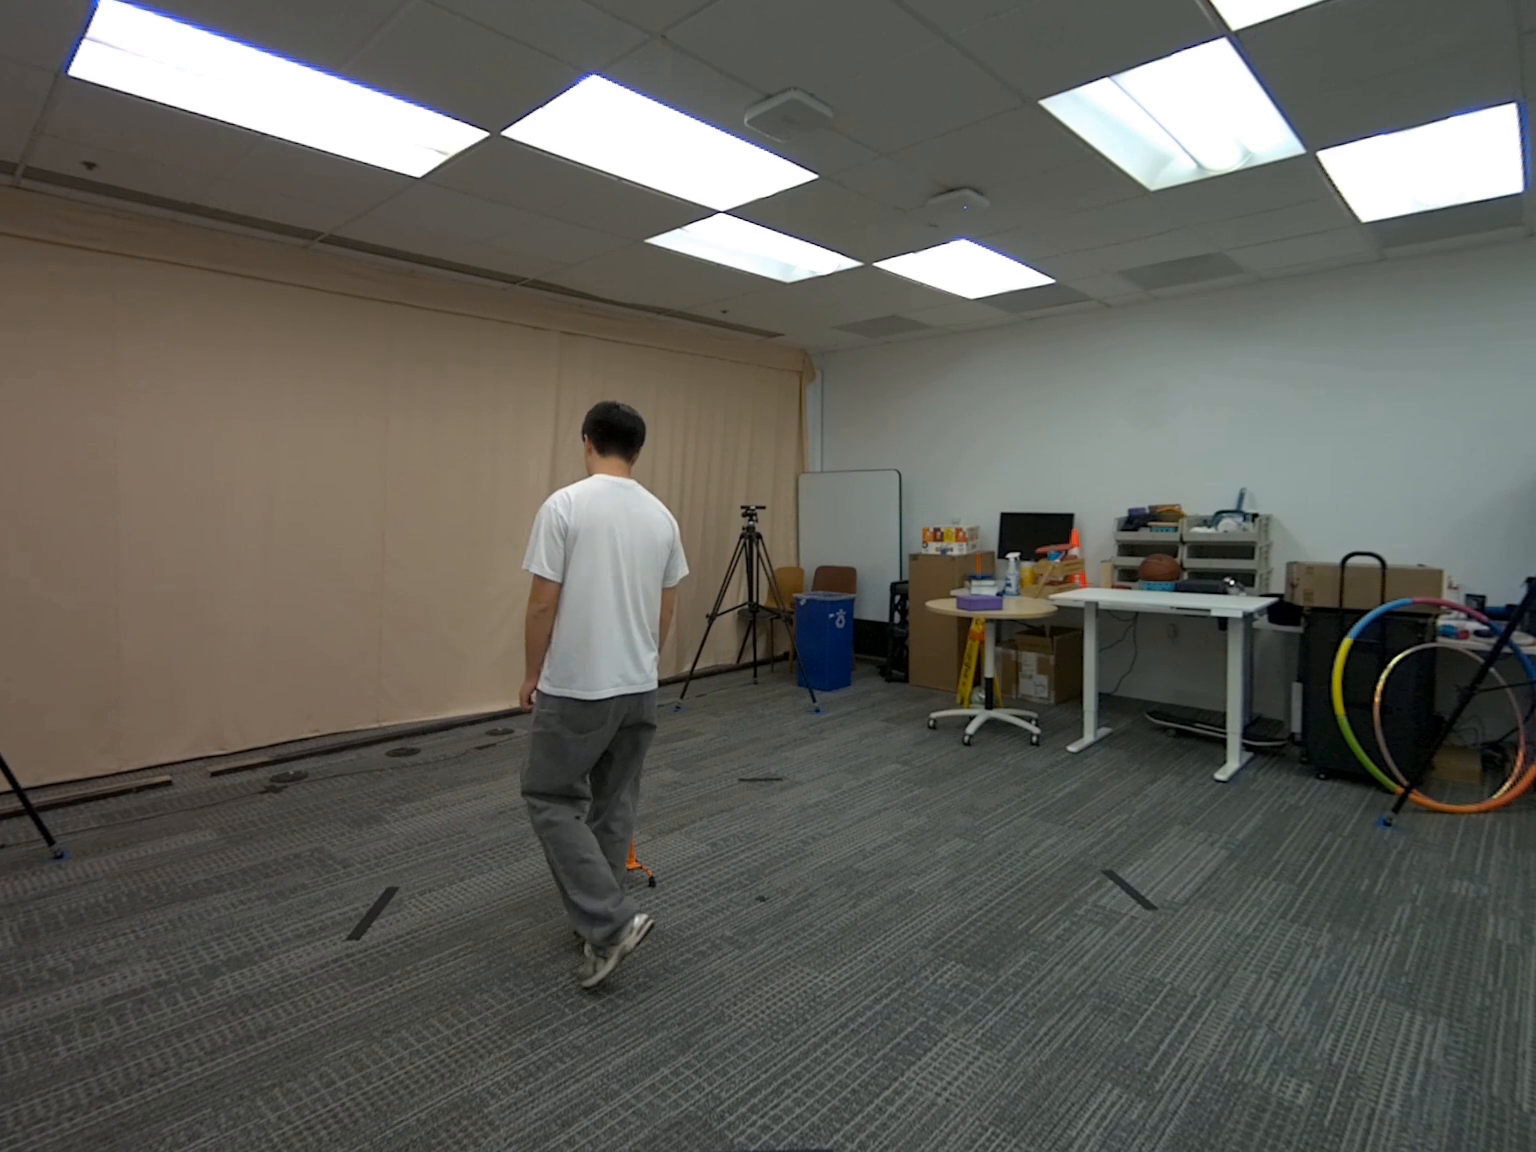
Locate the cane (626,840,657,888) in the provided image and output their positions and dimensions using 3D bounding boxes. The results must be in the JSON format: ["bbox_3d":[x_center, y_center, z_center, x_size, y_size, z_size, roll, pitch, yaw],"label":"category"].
[{"bbox_3d":[-0.526,0.679,3.110,0.147,0.906,0.213,-2,4,-34],"label":"cane"}]
